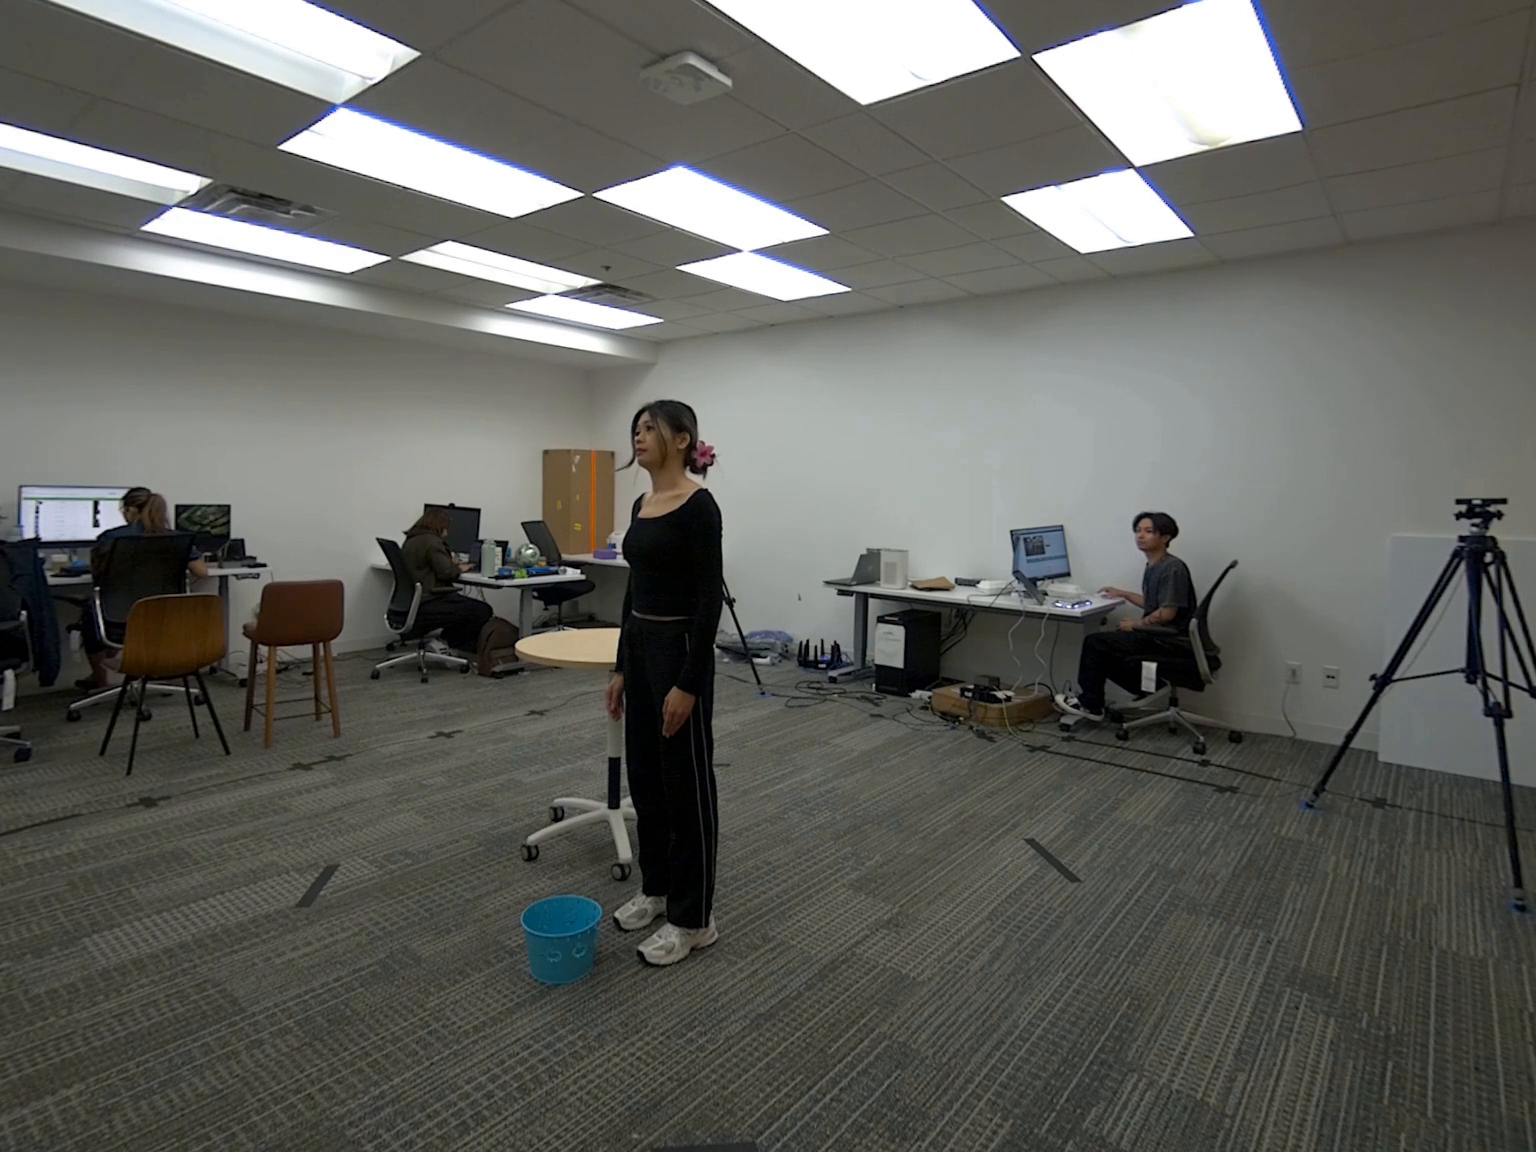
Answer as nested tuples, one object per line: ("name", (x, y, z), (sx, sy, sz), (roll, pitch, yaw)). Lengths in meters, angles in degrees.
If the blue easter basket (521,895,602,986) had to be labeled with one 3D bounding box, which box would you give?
("blue easter basket", (-0.601, 1.055, 2.457), (0.243, 0.155, 0.245), (1, 5, -2))
